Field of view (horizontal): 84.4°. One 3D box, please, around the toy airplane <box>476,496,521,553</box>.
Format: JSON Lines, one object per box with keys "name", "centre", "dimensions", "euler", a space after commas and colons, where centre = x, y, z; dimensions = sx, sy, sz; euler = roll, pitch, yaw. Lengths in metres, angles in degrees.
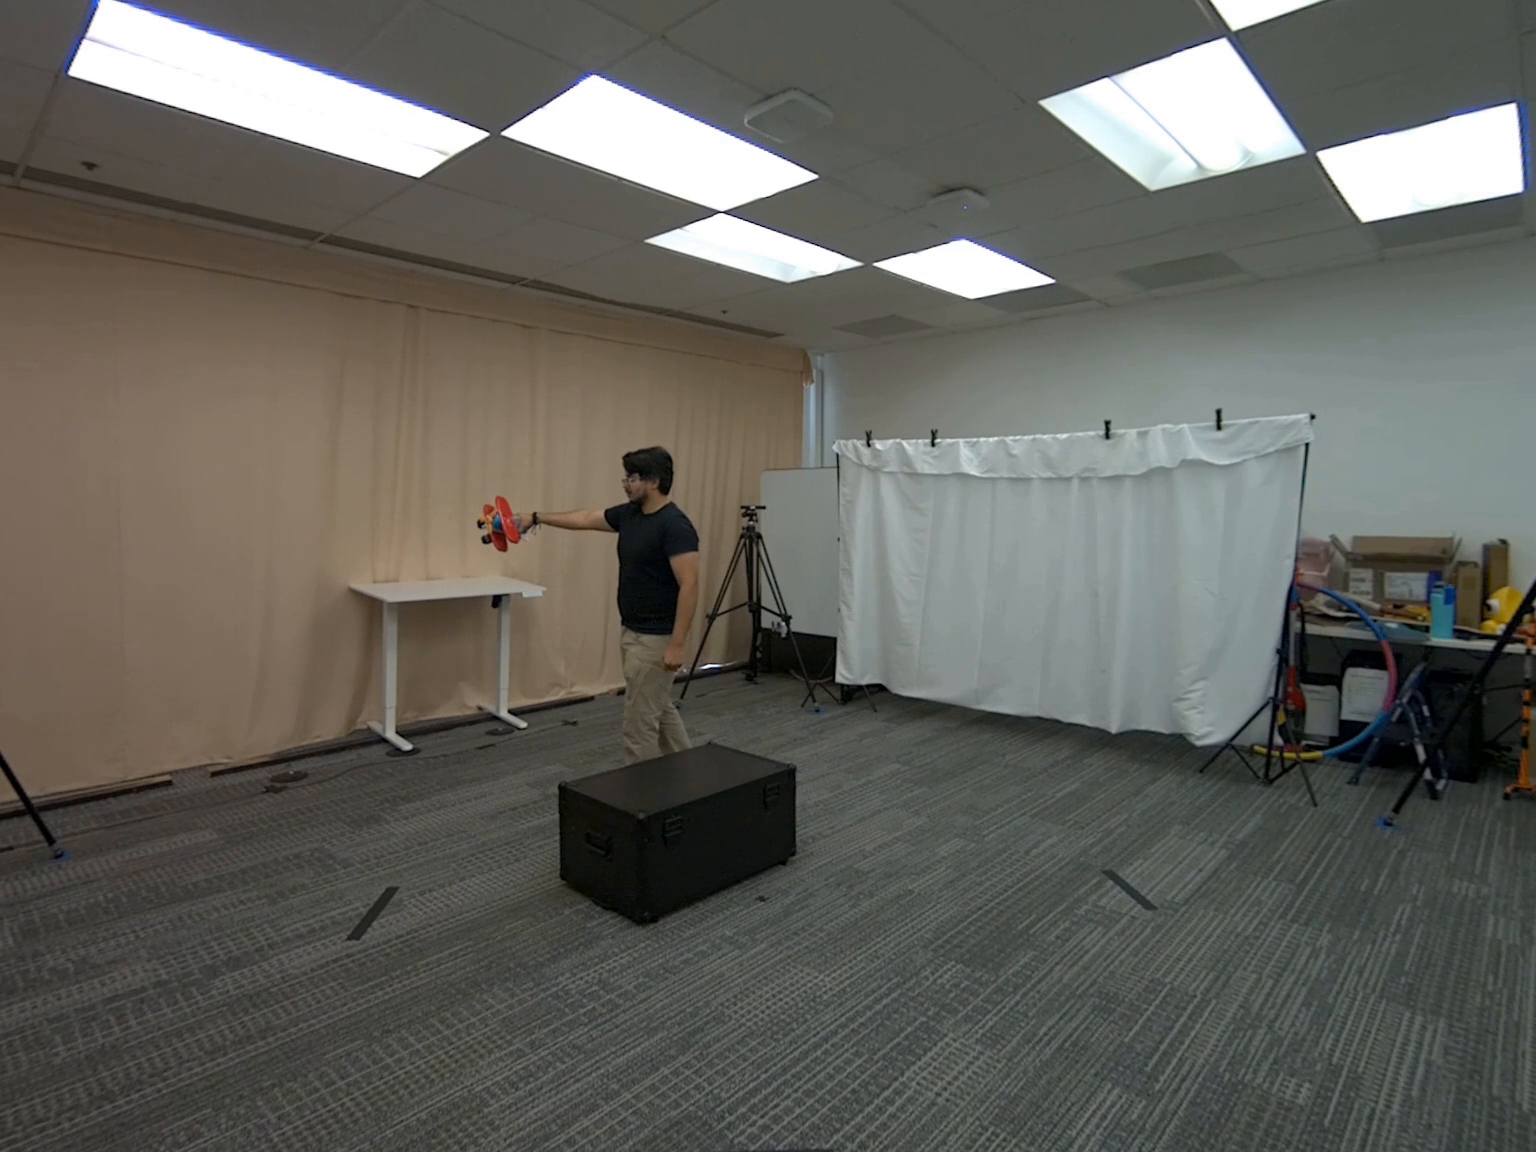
{"name": "toy airplane", "centre": [-1.233, -0.243, 3.961], "dimensions": [0.158, 0.251, 0.256], "euler": [-38, 2, 33]}
